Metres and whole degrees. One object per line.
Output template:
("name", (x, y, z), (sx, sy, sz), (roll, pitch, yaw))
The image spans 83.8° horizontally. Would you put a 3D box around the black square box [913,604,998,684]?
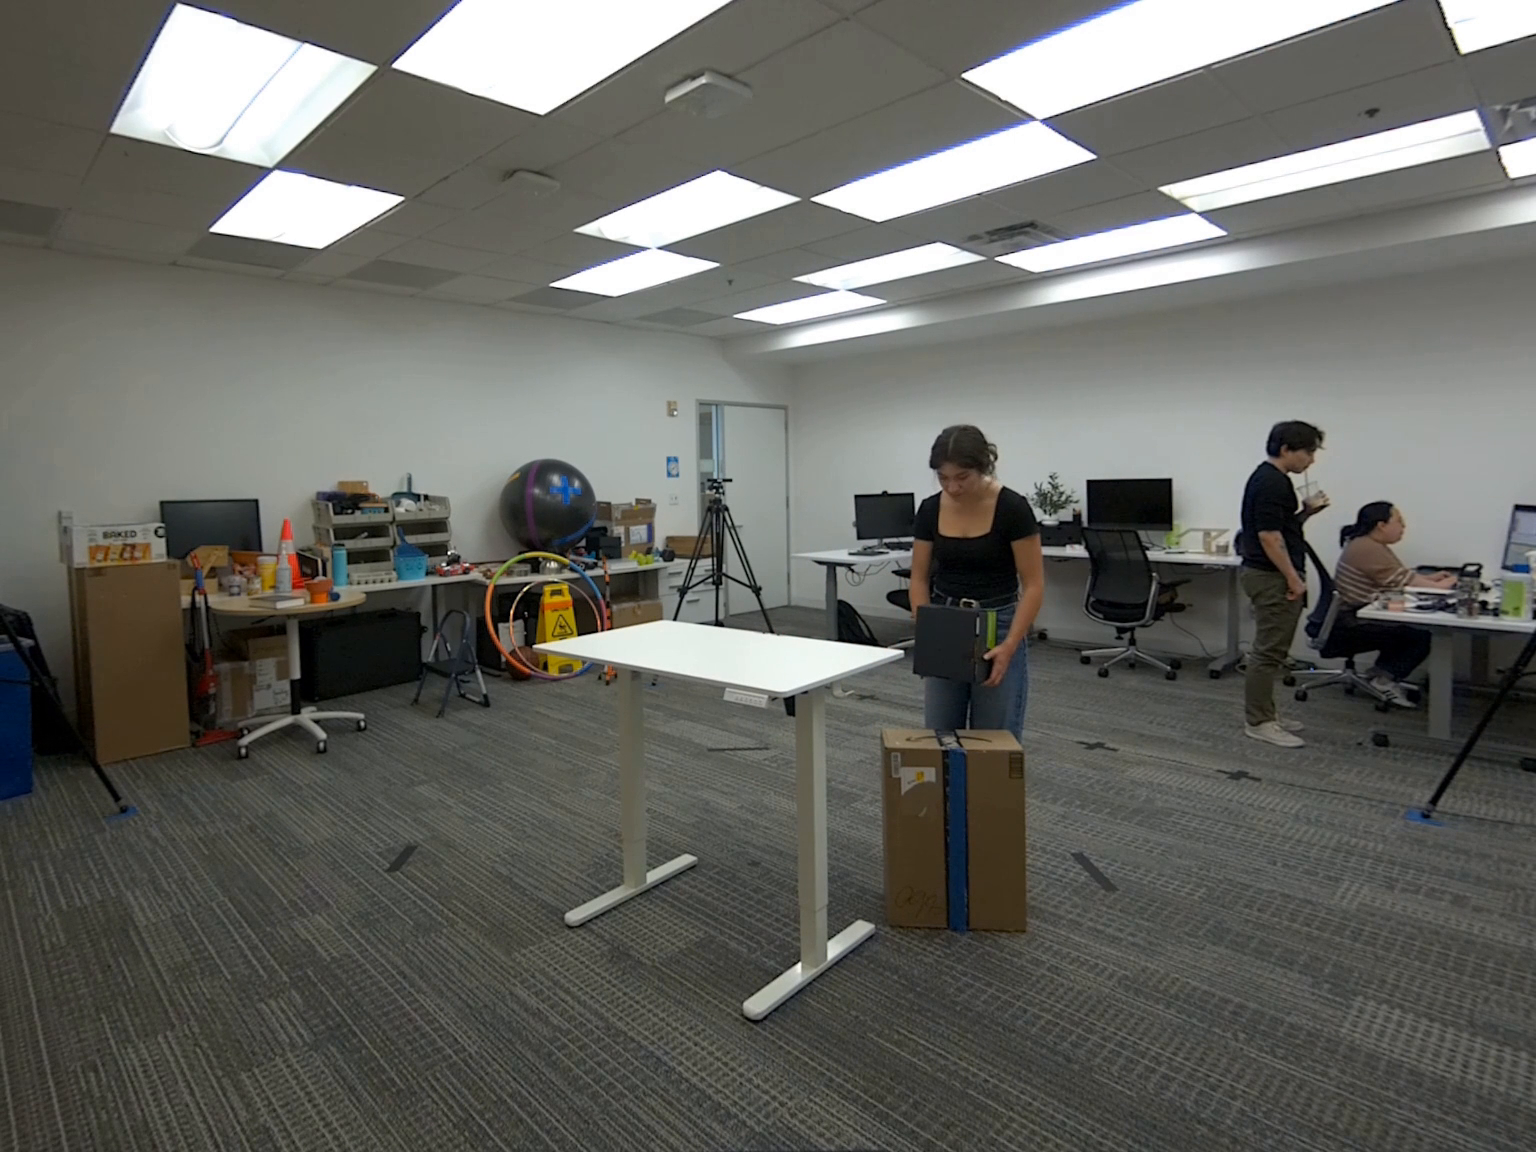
("black square box", (0.610, 0.218, 2.765), (0.223, 0.228, 0.151), (4, 0, 38))
